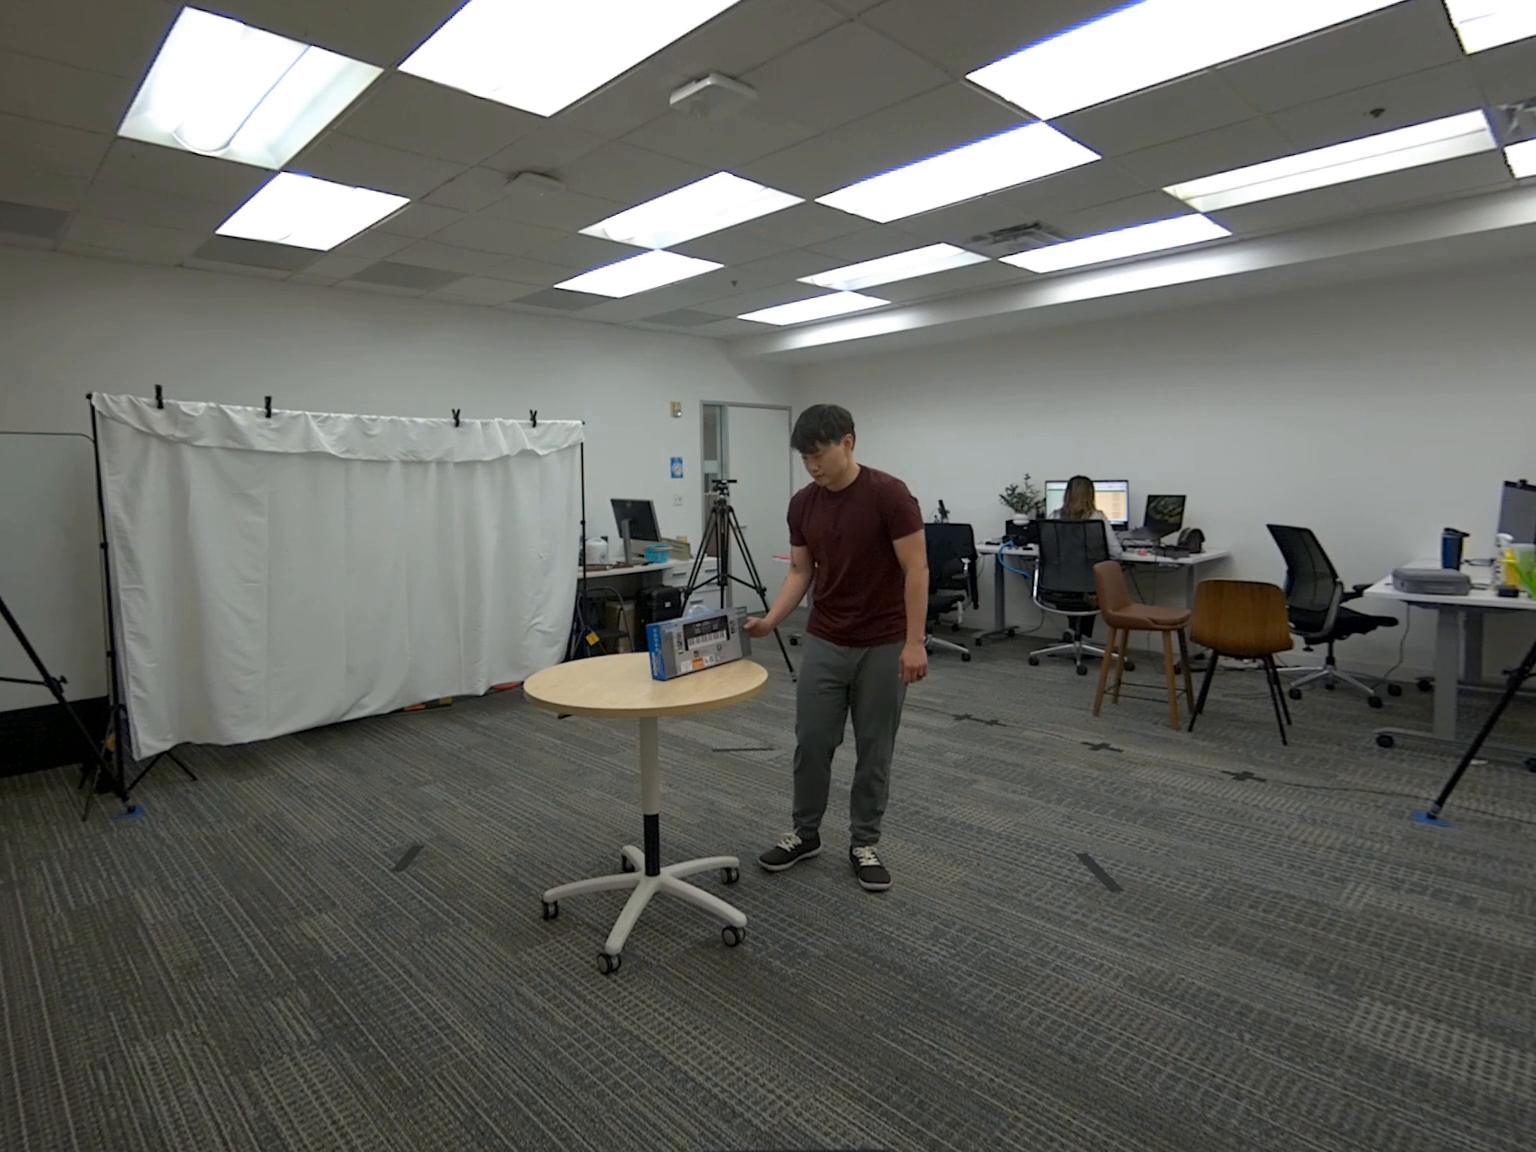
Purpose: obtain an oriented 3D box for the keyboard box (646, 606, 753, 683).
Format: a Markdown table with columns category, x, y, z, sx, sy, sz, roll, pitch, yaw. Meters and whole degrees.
| category | x | y | z | sx | sy | sz | roll | pitch | yaw |
| --- | --- | --- | --- | --- | --- | --- | --- | --- | --- |
| keyboard box | -0.217 | 0.215 | 2.810 | 0.060 | 0.176 | 0.426 | -7 | 2 | 38 |
